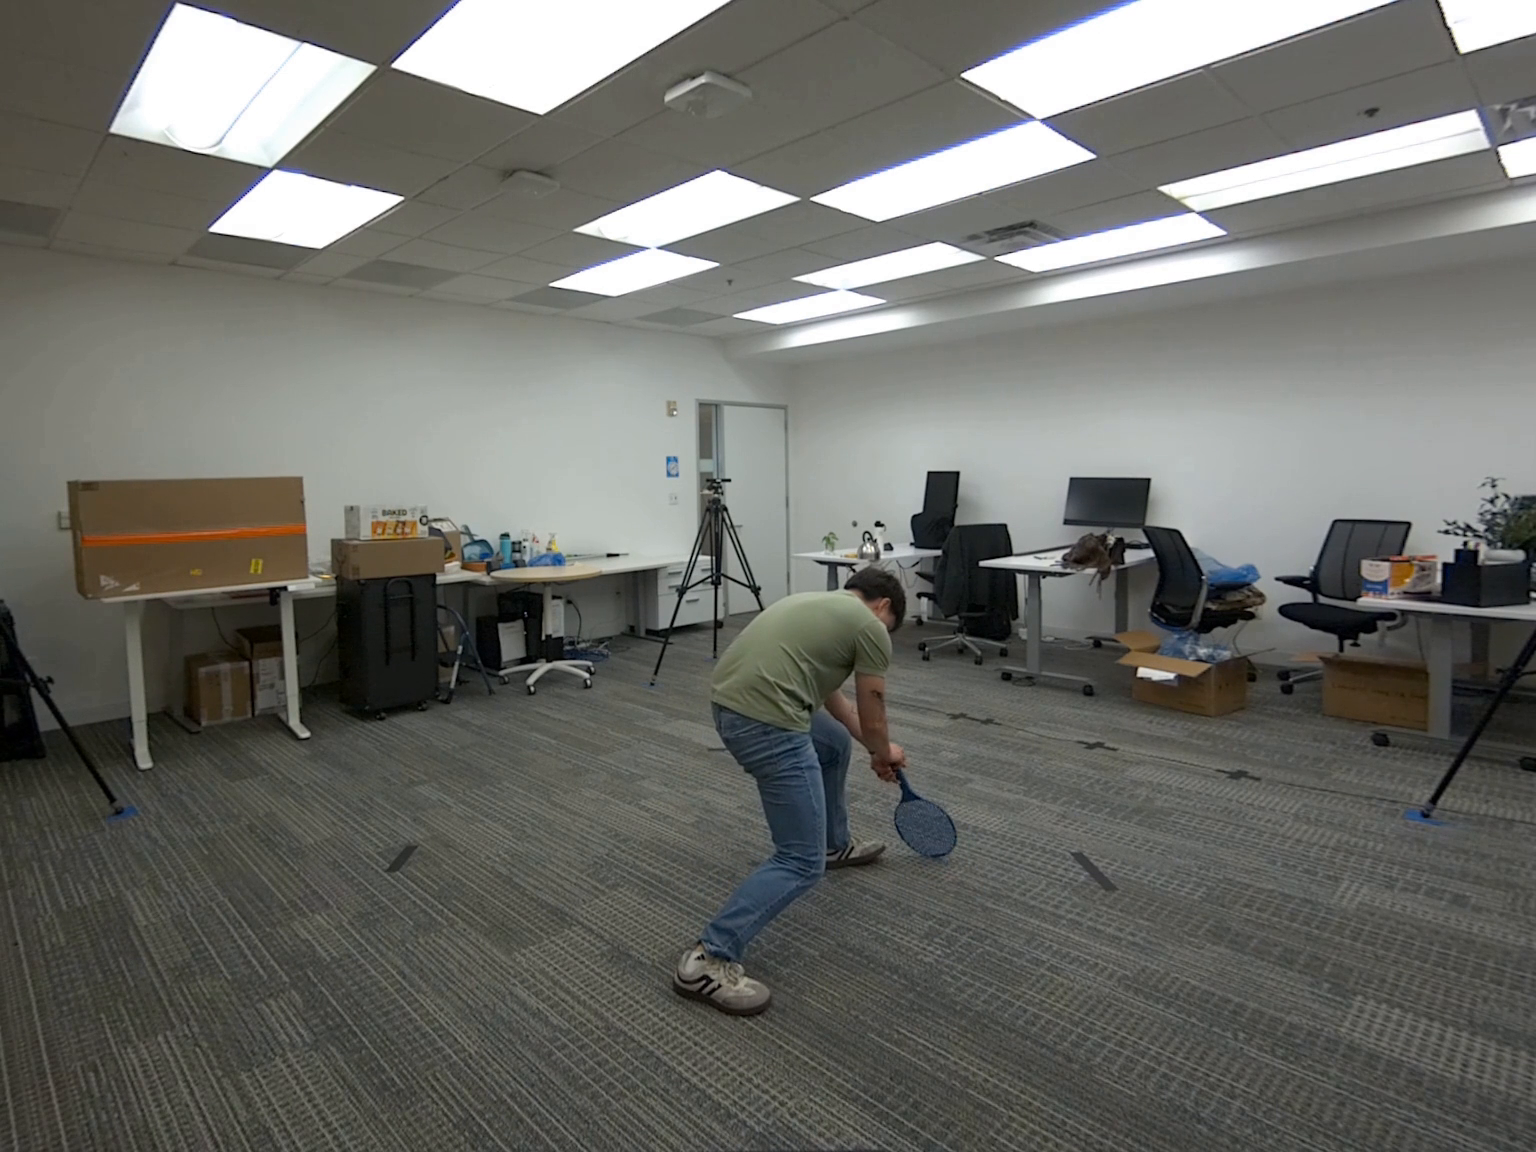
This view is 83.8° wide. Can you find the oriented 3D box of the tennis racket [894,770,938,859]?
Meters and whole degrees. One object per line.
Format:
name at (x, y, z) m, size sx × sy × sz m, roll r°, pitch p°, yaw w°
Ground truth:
tennis racket at (0.490, 0.836, 3.080) m, size 0.032 × 0.423 × 0.219 m, roll -17°, pitch 23°, yaw -4°
